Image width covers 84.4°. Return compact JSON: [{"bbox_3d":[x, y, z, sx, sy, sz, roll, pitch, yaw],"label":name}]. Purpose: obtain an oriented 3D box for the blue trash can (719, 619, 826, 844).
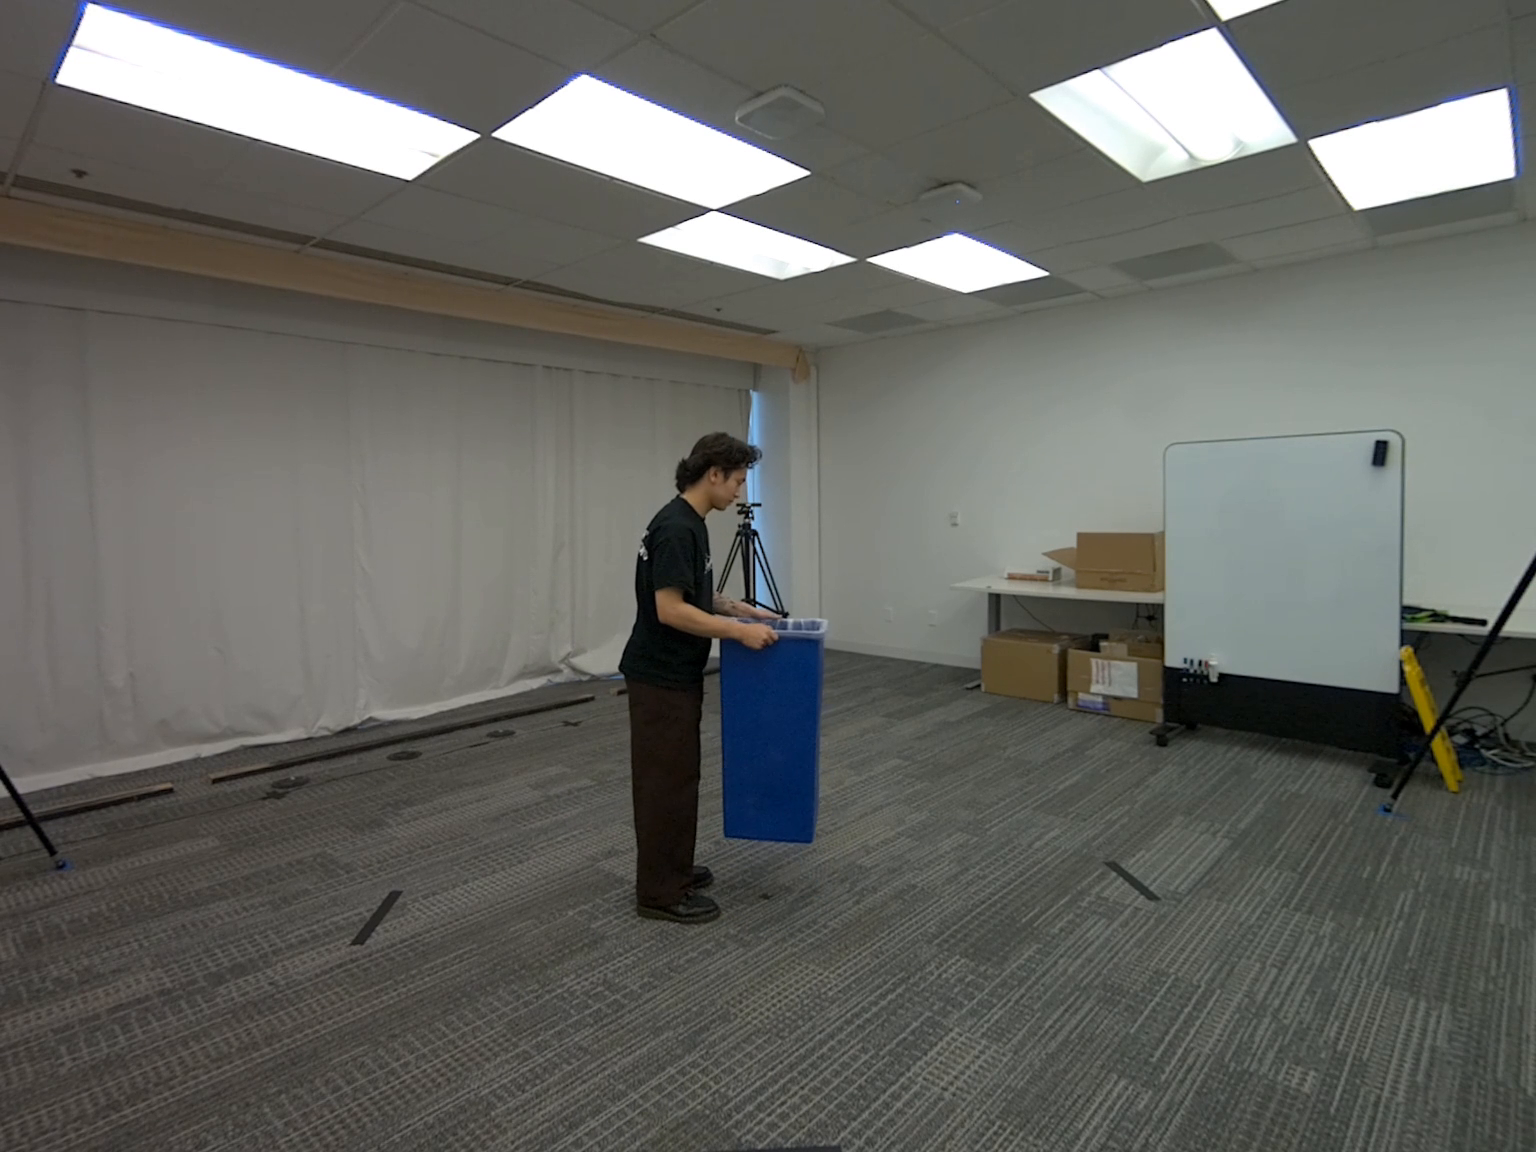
[{"bbox_3d":[0.032,0.539,2.945,0.381,0.713,0.371,1,1,7],"label":"blue trash can"}]
